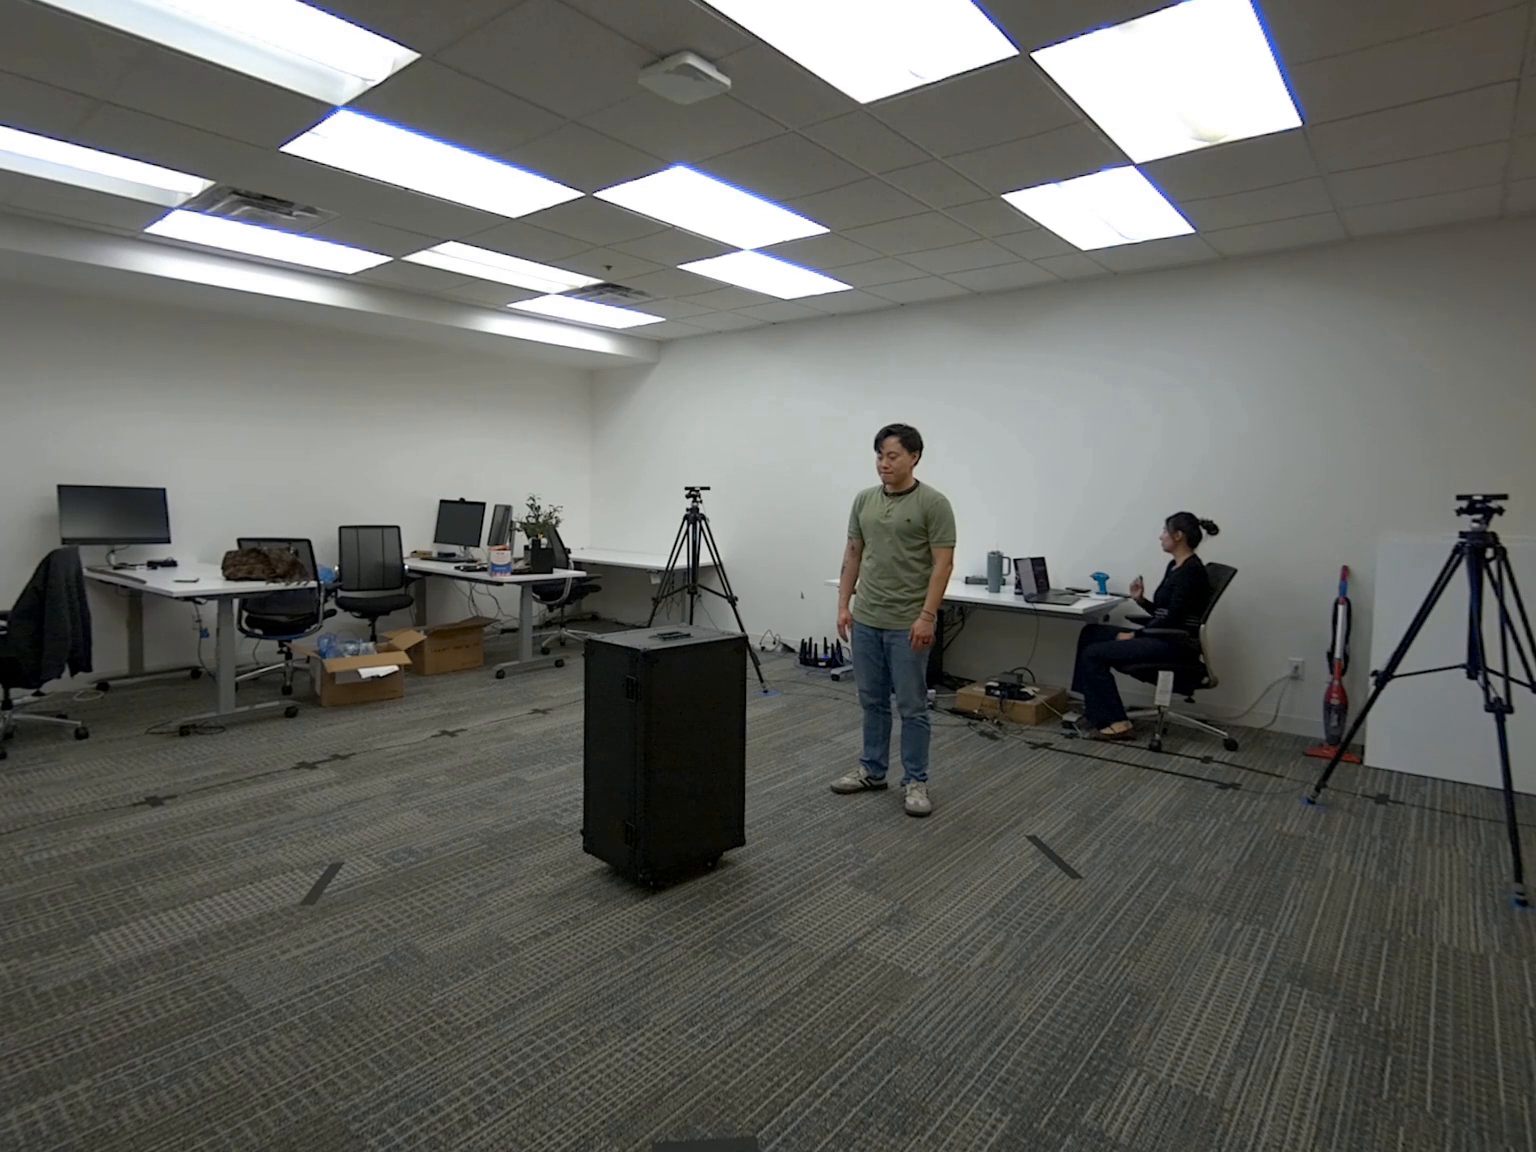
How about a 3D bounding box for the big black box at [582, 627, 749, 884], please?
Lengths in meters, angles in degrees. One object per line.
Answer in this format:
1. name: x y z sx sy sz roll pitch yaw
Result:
1. big black box: -0.396 0.637 3.099 0.409 0.860 0.505 2 3 44
